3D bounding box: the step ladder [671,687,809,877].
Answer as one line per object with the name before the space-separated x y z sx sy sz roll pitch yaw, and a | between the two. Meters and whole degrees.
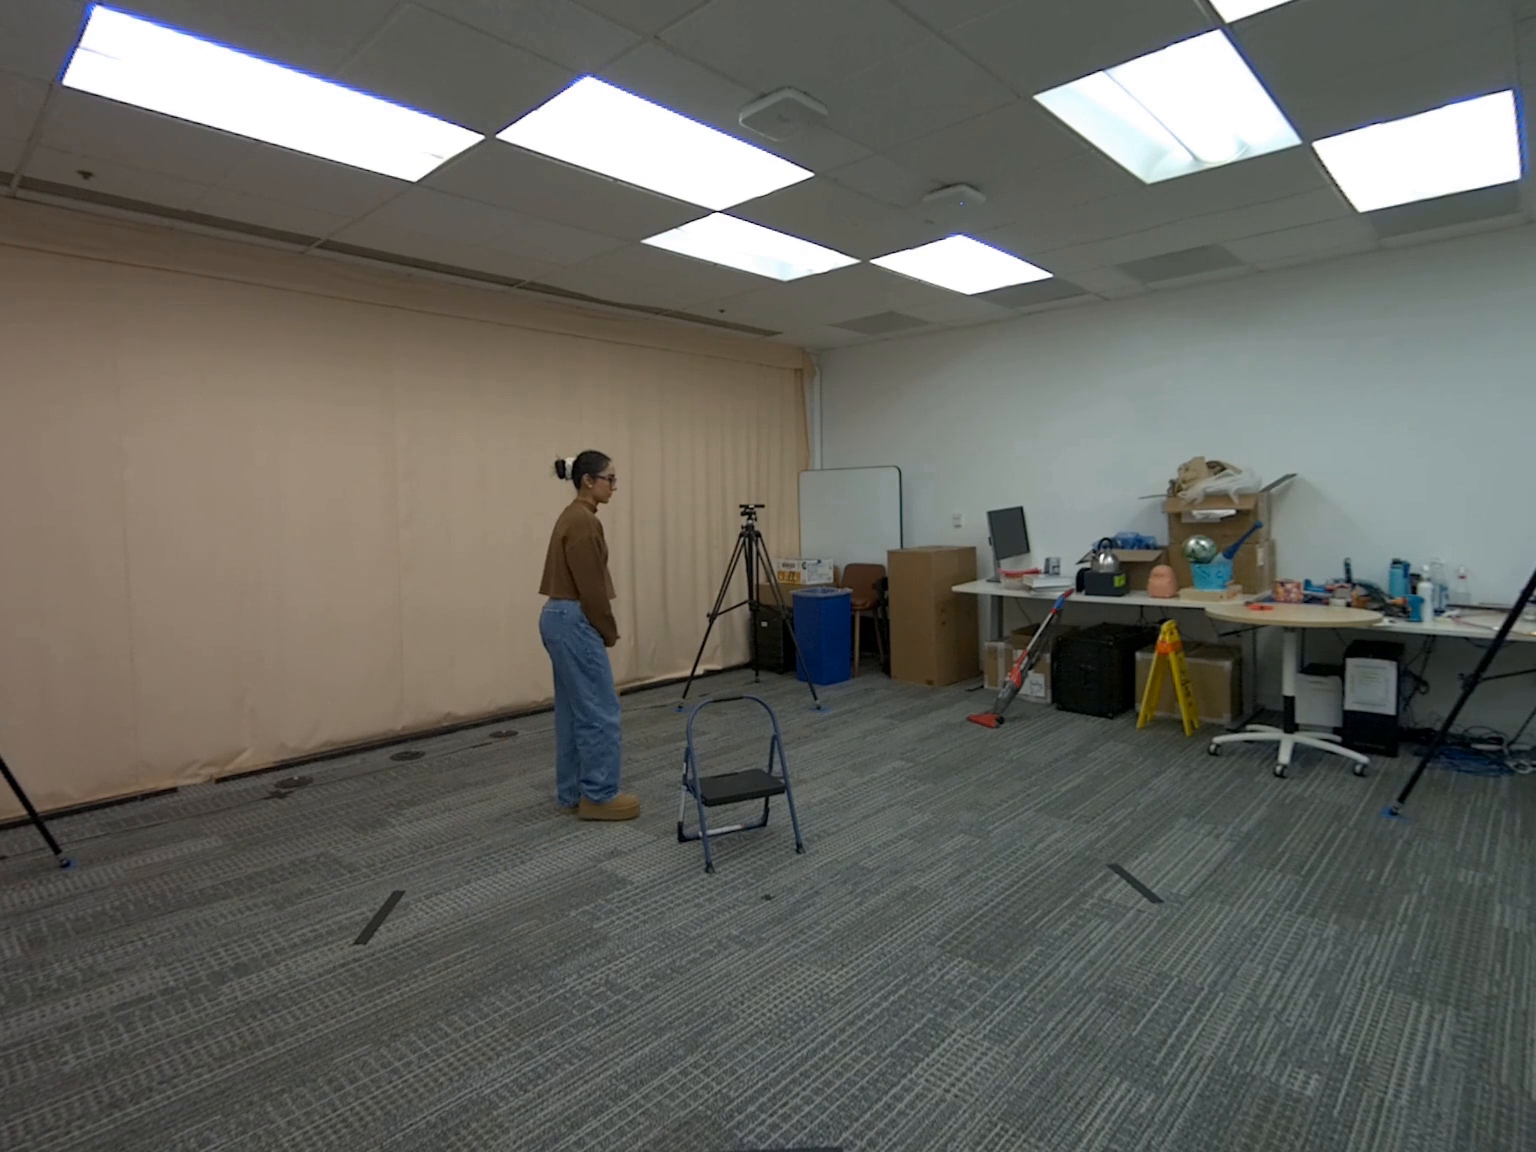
step ladder | -0.120 0.801 3.411 0.420 0.605 0.358 -2 3 -26
